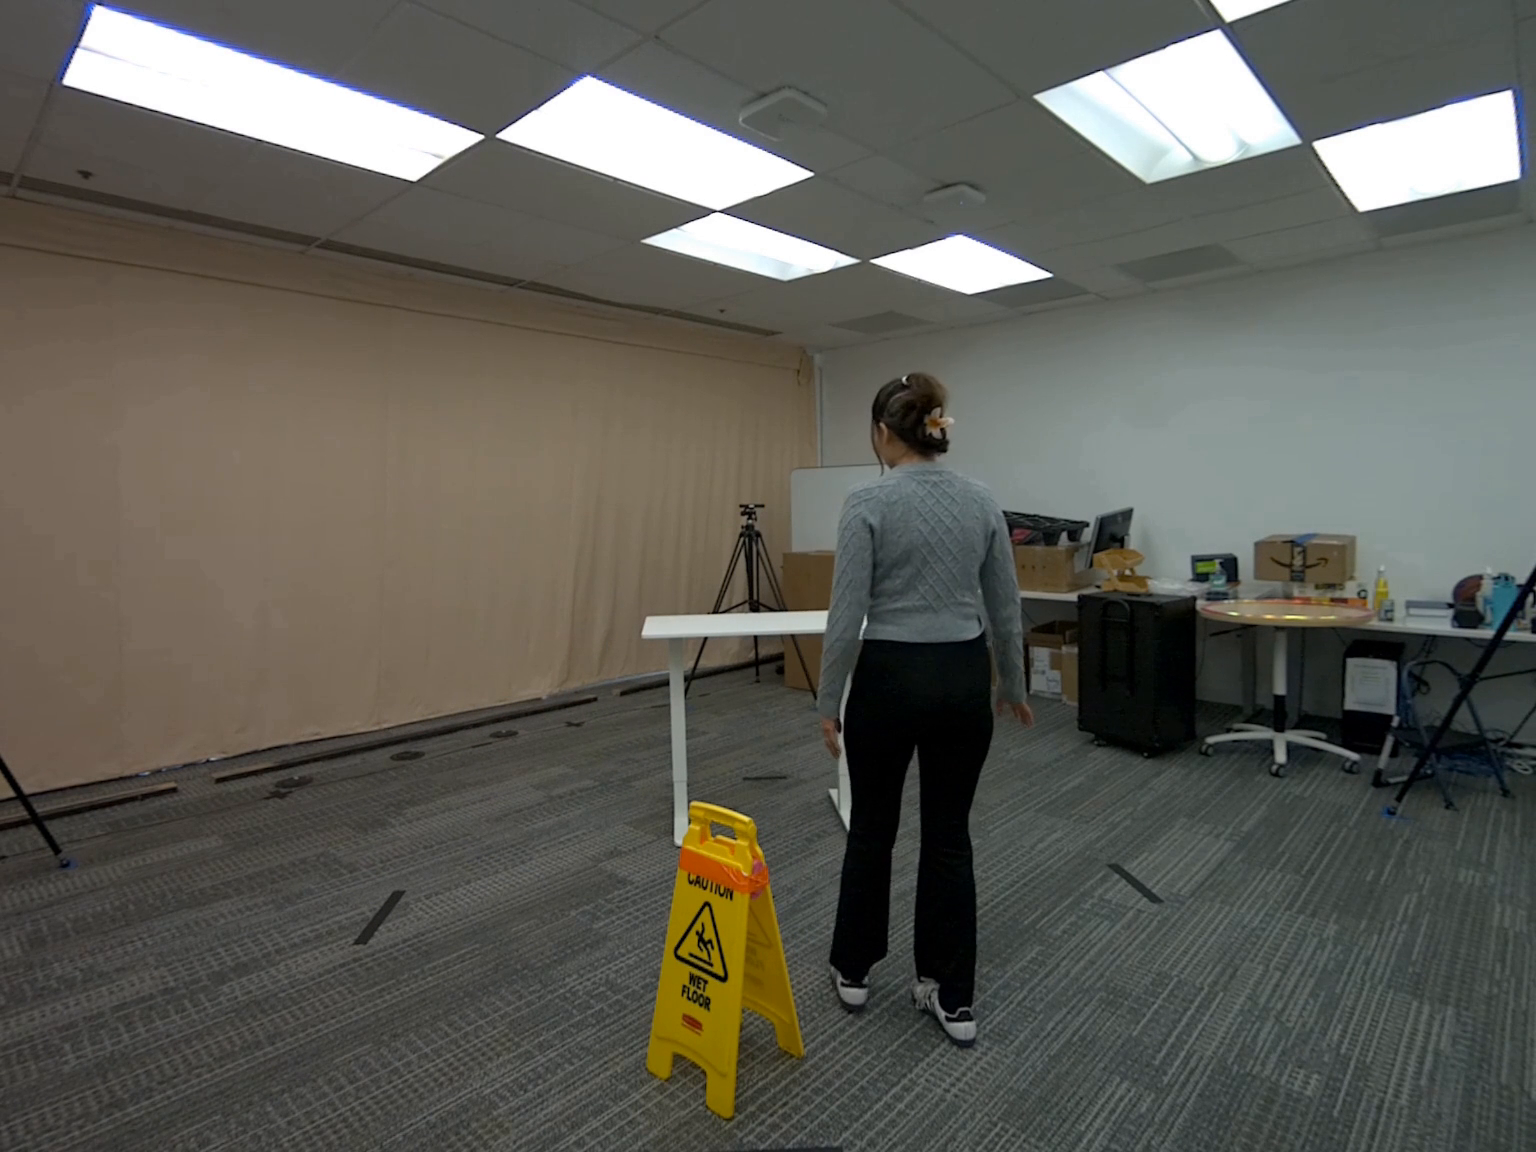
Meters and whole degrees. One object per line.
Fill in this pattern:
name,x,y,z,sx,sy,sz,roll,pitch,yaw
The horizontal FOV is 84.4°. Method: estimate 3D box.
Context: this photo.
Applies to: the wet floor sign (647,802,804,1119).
wet floor sign,-0.107,0.904,2.083,0.291,0.645,0.281,1,4,41
